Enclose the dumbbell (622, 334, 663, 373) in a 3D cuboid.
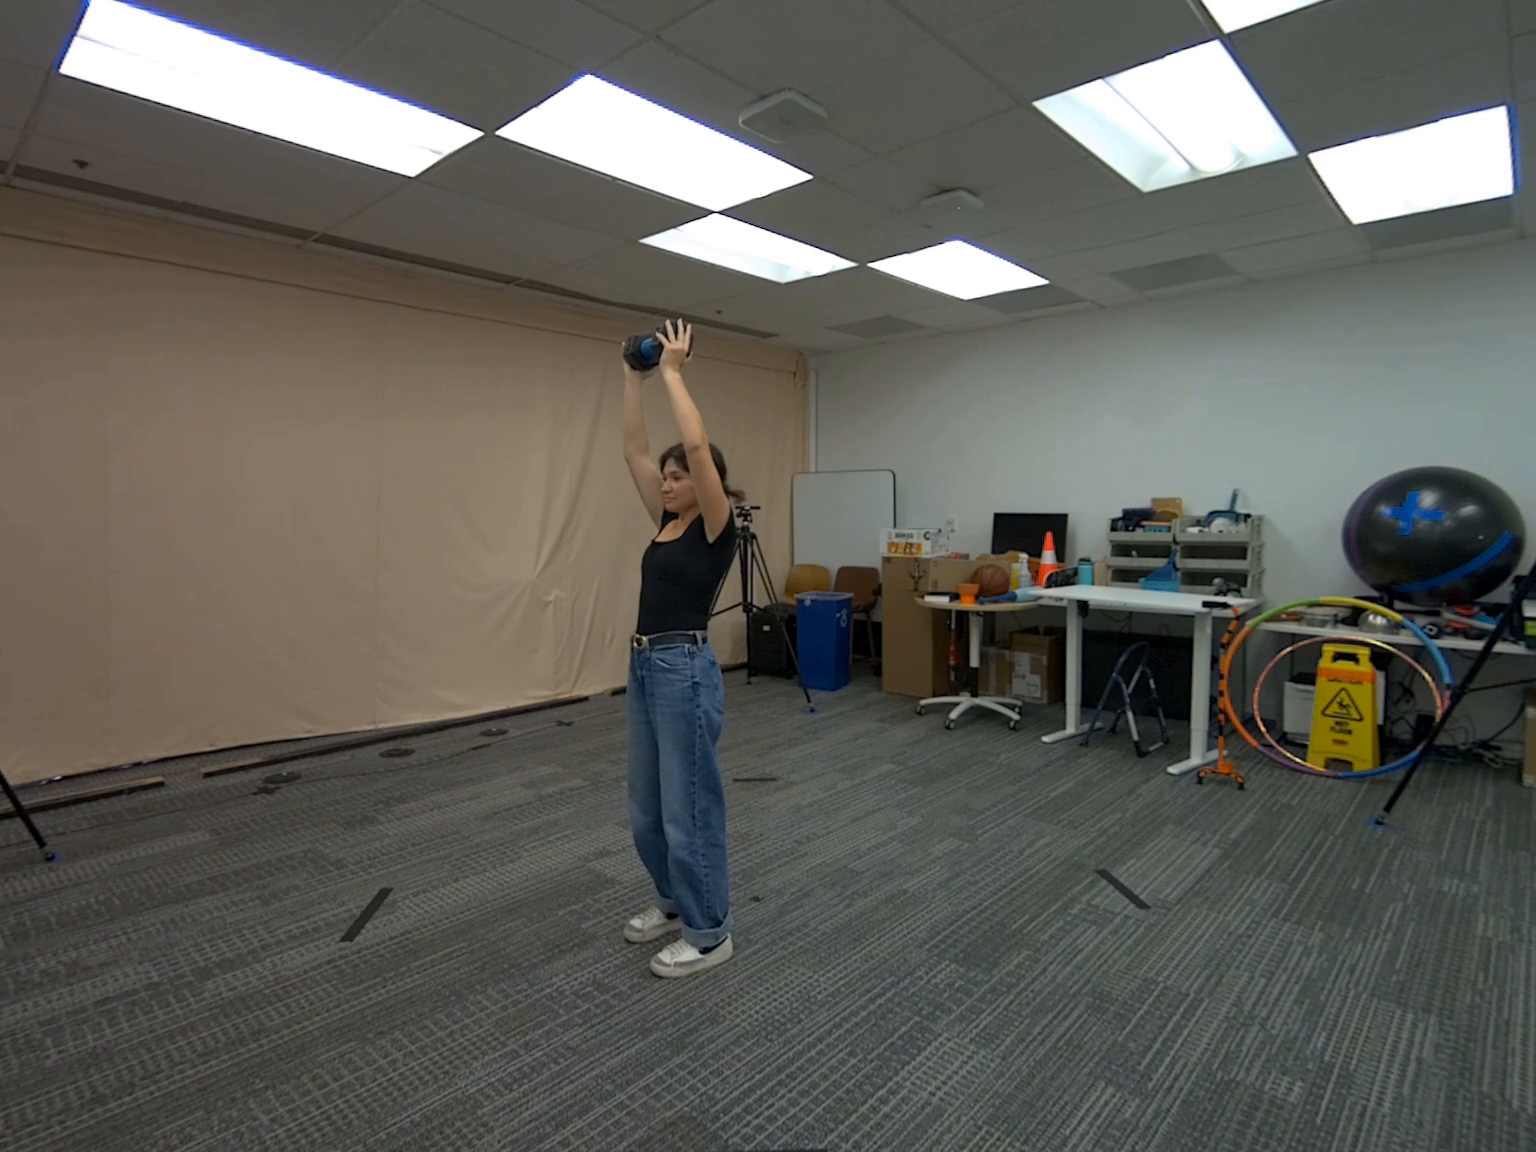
[{"bbox_3d":[-0.334,-0.700,2.575,0.108,0.120,0.302,-48,25,-19],"label":"dumbbell"}]
